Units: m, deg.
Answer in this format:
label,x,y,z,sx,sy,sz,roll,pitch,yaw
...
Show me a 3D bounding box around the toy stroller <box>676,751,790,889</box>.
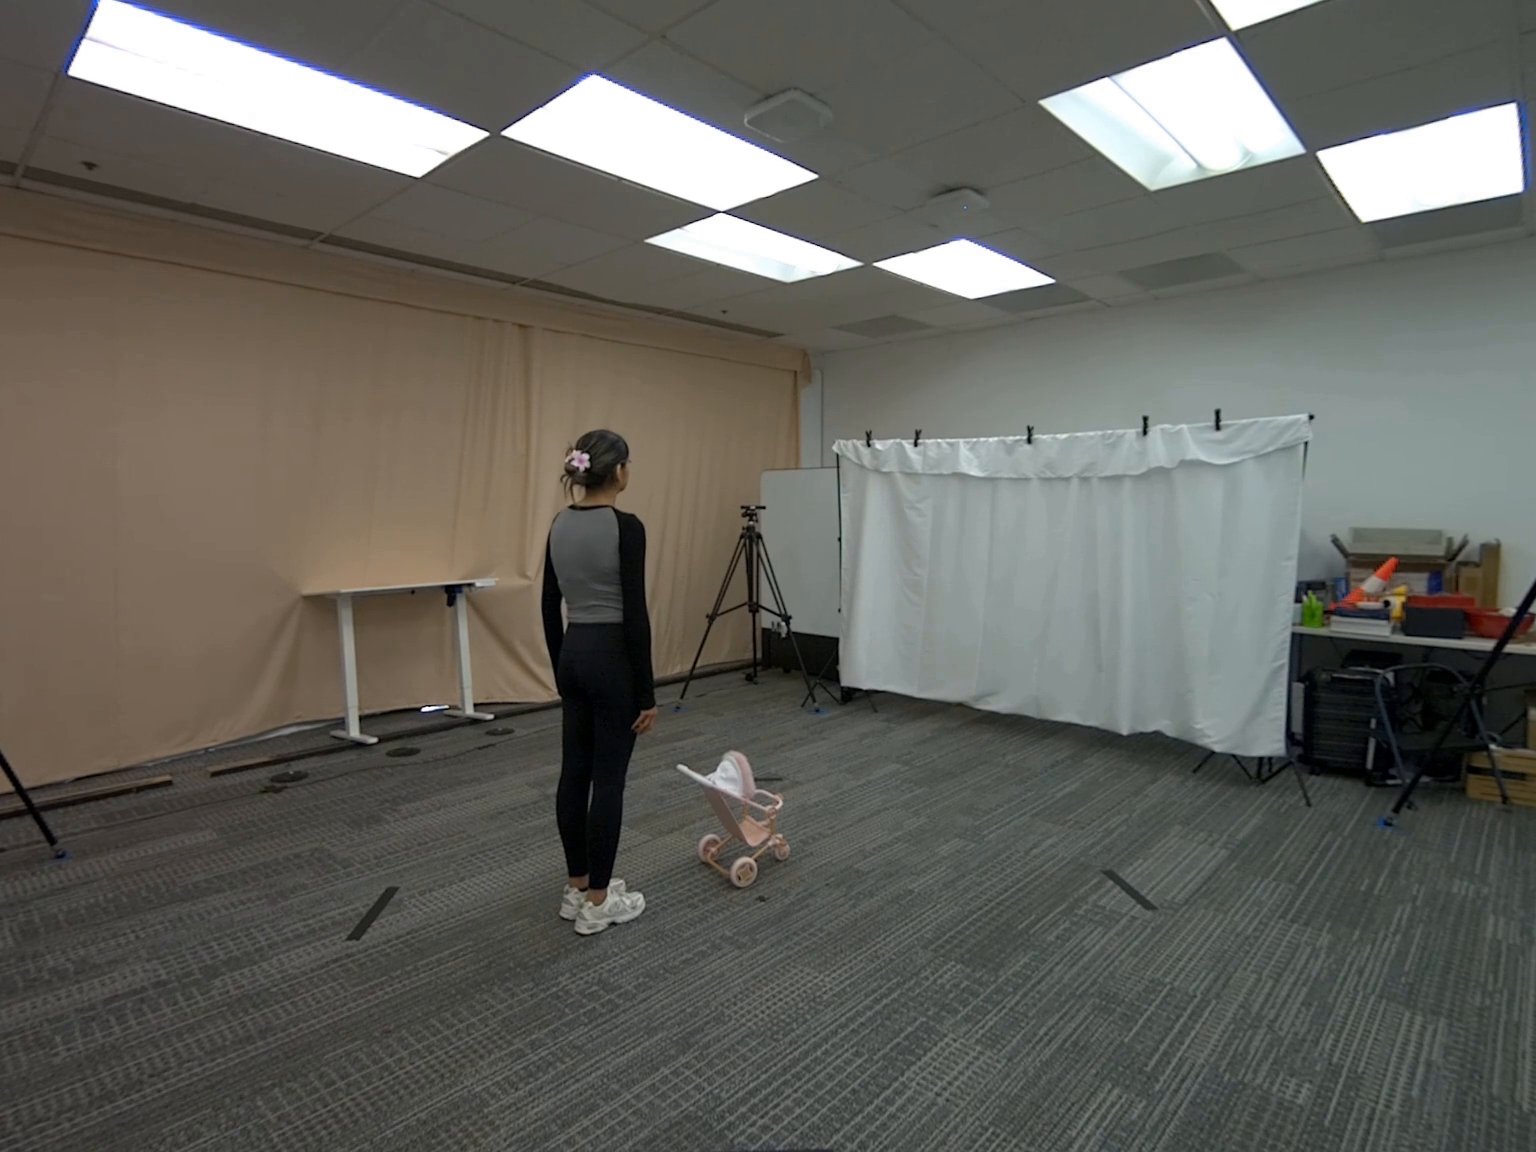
label,x,y,z,sx,sy,sz,roll,pitch,yaw
toy stroller,-0.107,0.902,3.203,0.335,0.530,0.289,-21,12,-26
